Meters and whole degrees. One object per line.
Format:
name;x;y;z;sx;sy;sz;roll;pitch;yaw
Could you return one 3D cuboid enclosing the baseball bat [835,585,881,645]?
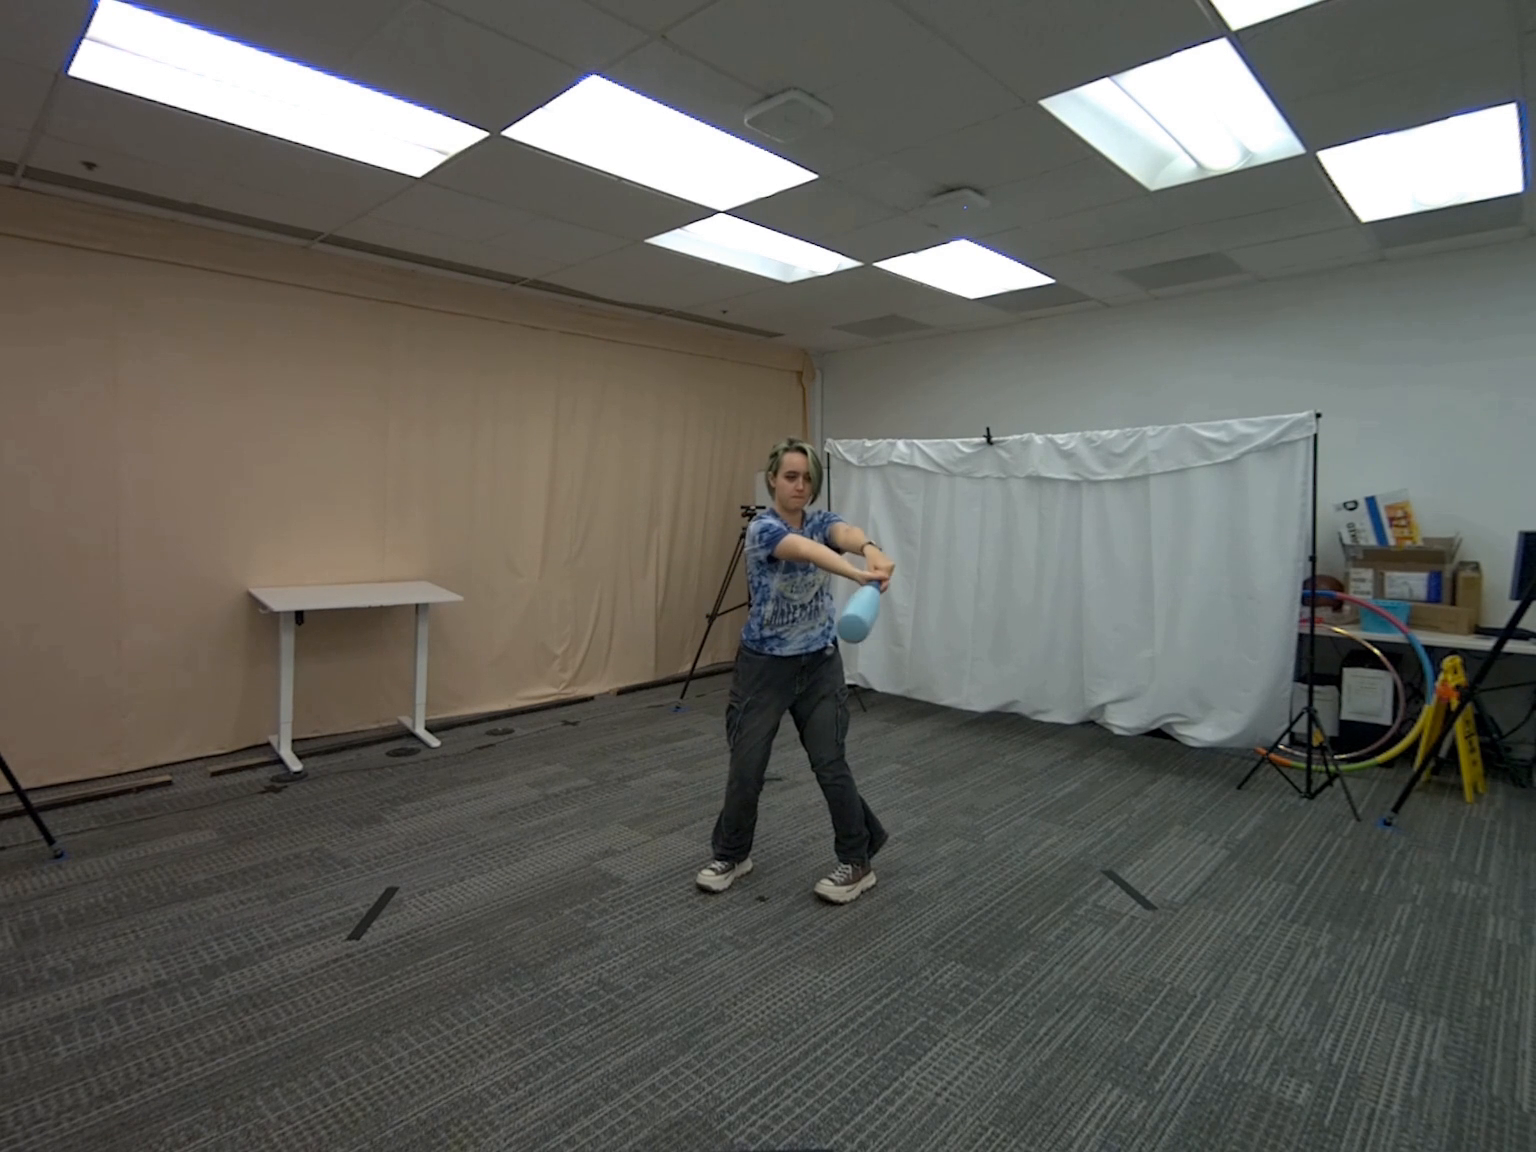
baseball bat;0.285;0.064;2.324;0.091;0.088;0.537;1;16;18
